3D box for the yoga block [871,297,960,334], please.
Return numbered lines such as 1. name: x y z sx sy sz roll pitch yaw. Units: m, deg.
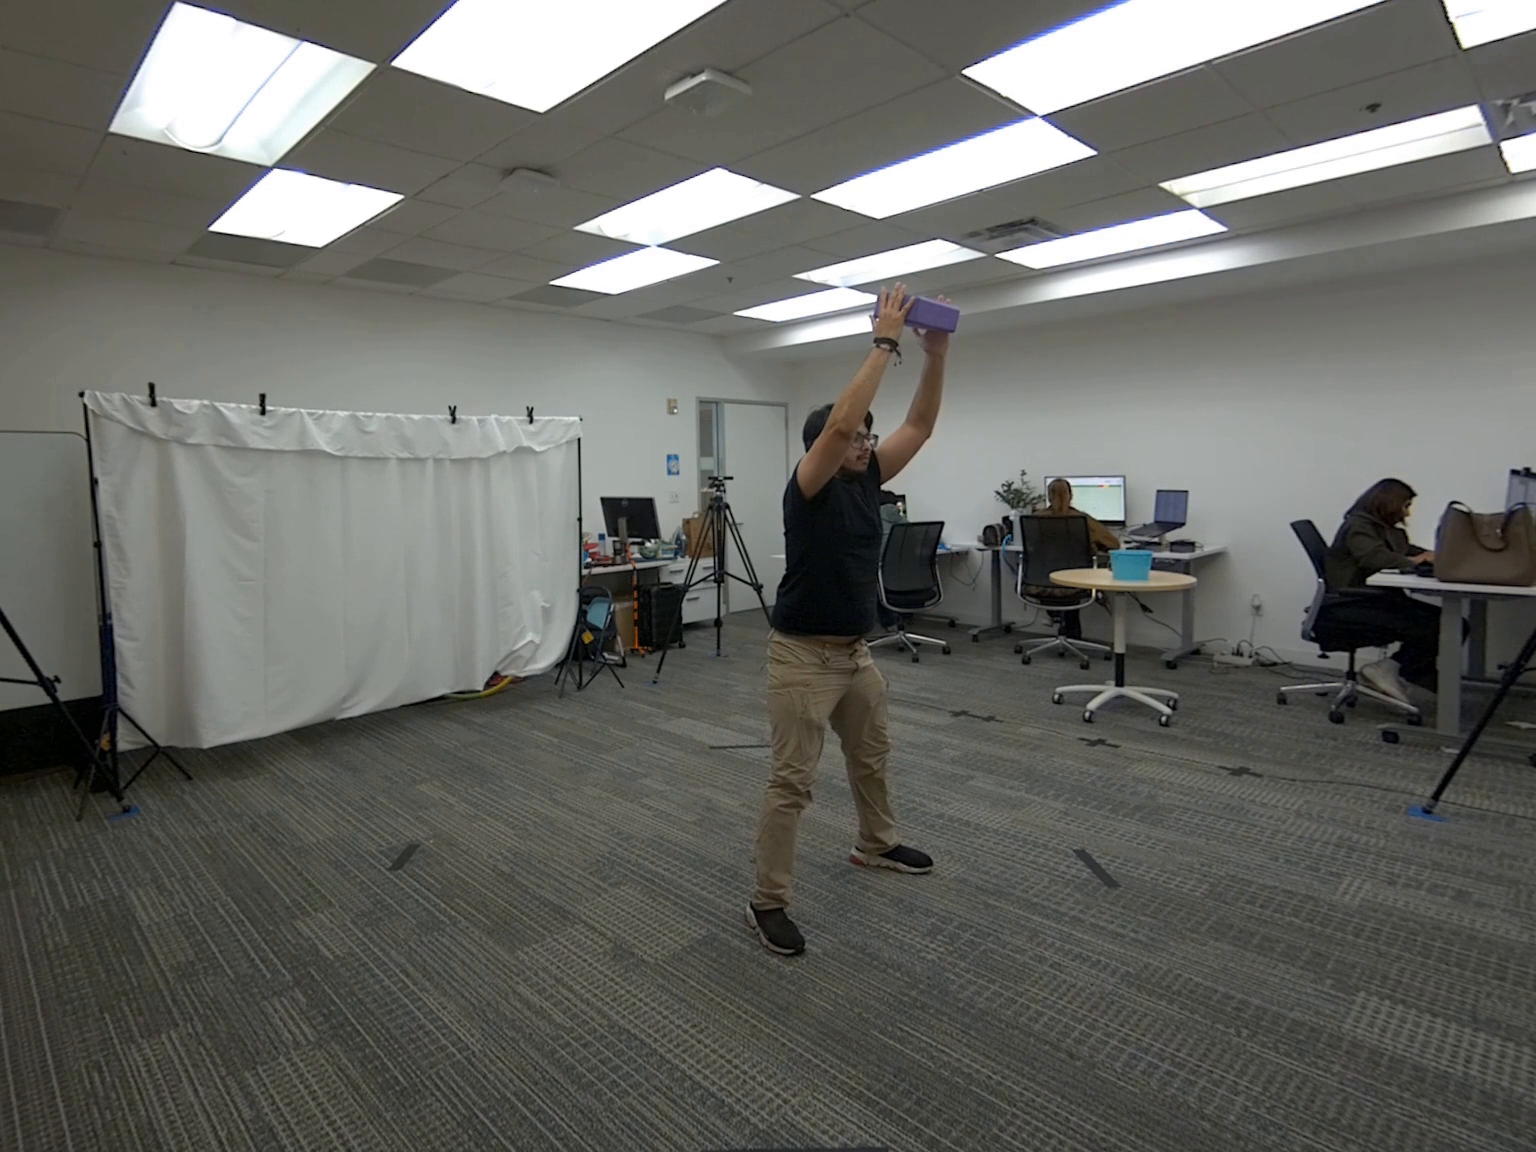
1. yoga block: 0.441 -0.766 2.473 0.154 0.076 0.223 24 19 39
